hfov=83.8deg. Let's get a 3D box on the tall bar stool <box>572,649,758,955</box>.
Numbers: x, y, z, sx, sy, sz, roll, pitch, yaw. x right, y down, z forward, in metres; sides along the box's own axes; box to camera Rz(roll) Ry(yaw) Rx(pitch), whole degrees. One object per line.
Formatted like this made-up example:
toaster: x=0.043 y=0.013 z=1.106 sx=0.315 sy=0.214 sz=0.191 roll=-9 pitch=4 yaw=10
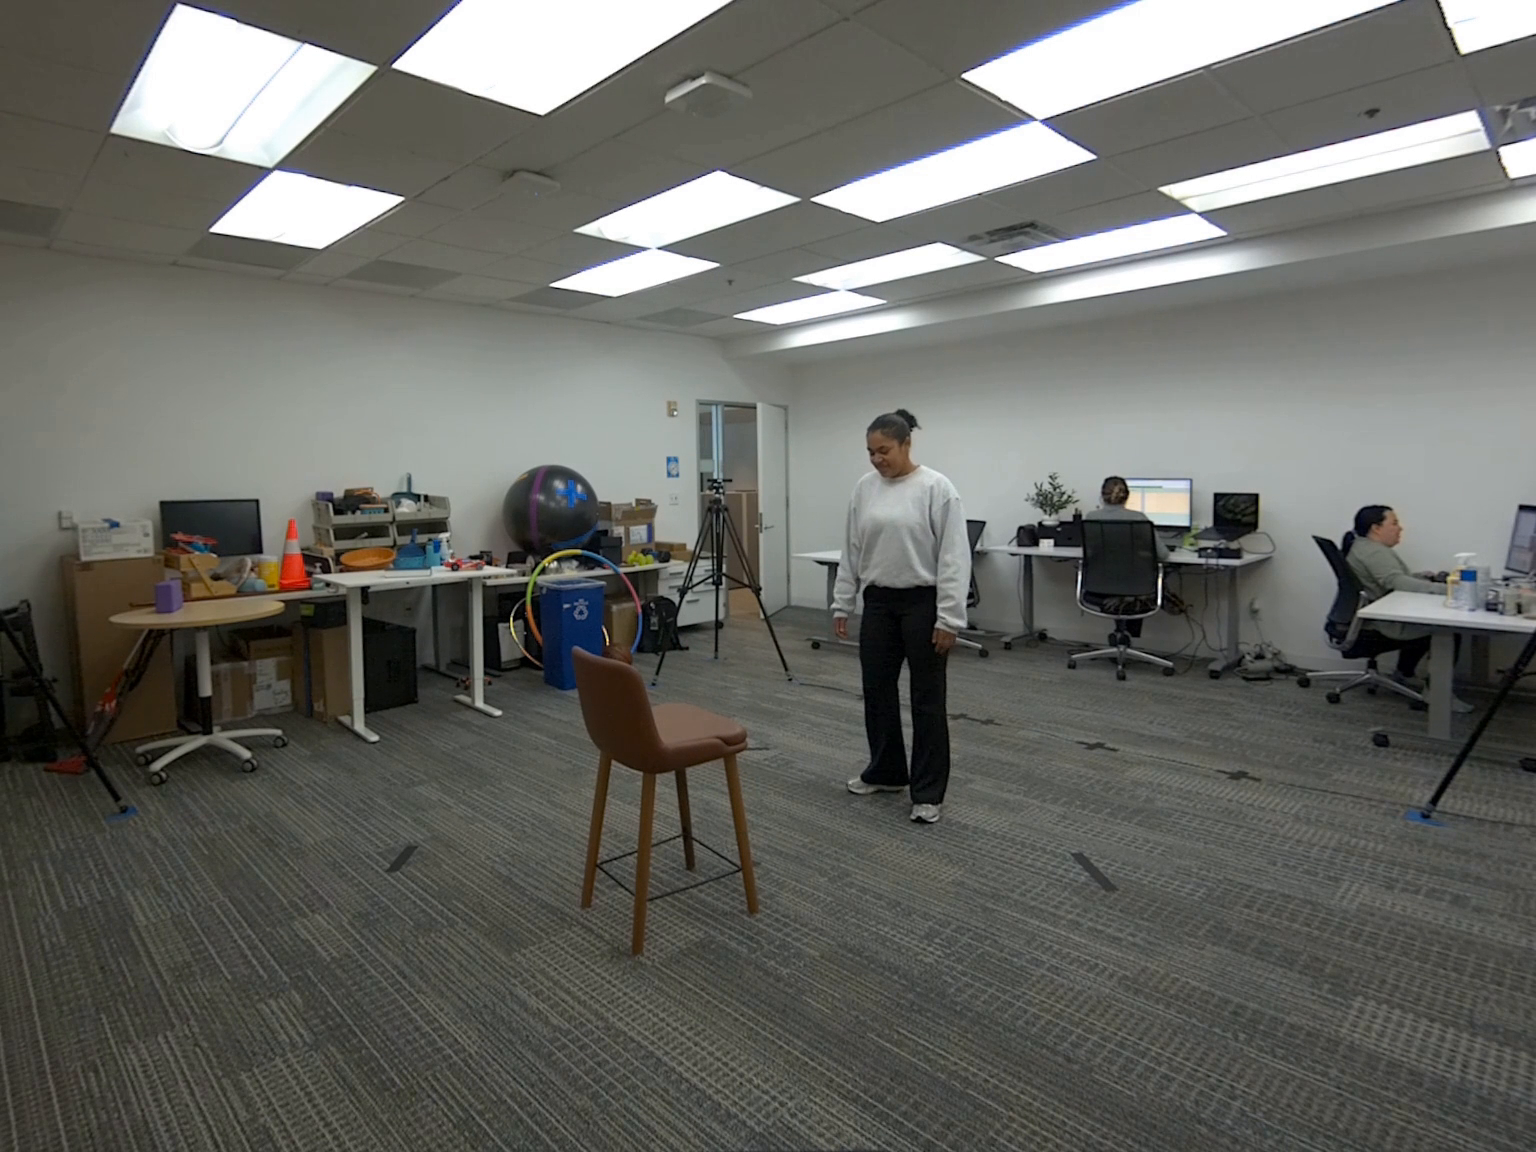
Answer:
tall bar stool: x=-0.338 y=0.655 z=2.762 sx=0.456 sy=0.885 sz=0.470 roll=-6 pitch=7 yaw=-36
